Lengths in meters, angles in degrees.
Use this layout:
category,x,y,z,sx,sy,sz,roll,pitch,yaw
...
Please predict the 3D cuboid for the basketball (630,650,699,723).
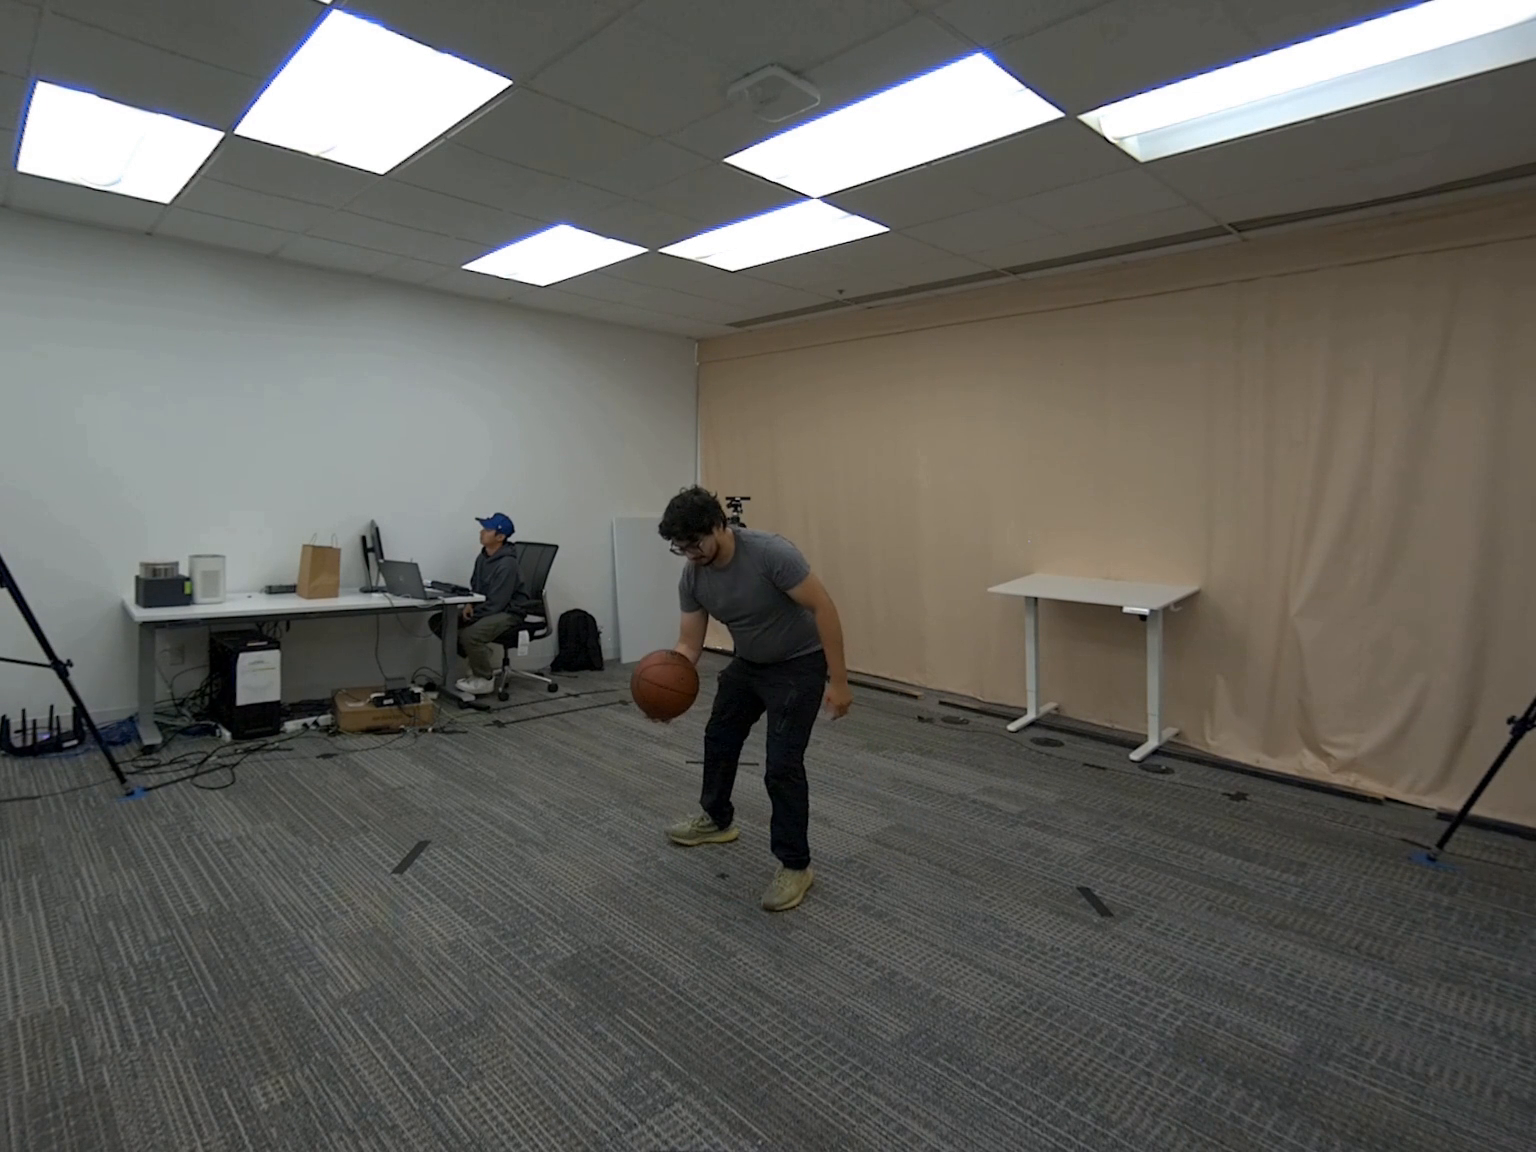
category,x,y,z,sx,sy,sz,roll,pitch,yaw
basketball,-0.357,0.383,2.922,0.236,0.235,0.237,1,4,-1
